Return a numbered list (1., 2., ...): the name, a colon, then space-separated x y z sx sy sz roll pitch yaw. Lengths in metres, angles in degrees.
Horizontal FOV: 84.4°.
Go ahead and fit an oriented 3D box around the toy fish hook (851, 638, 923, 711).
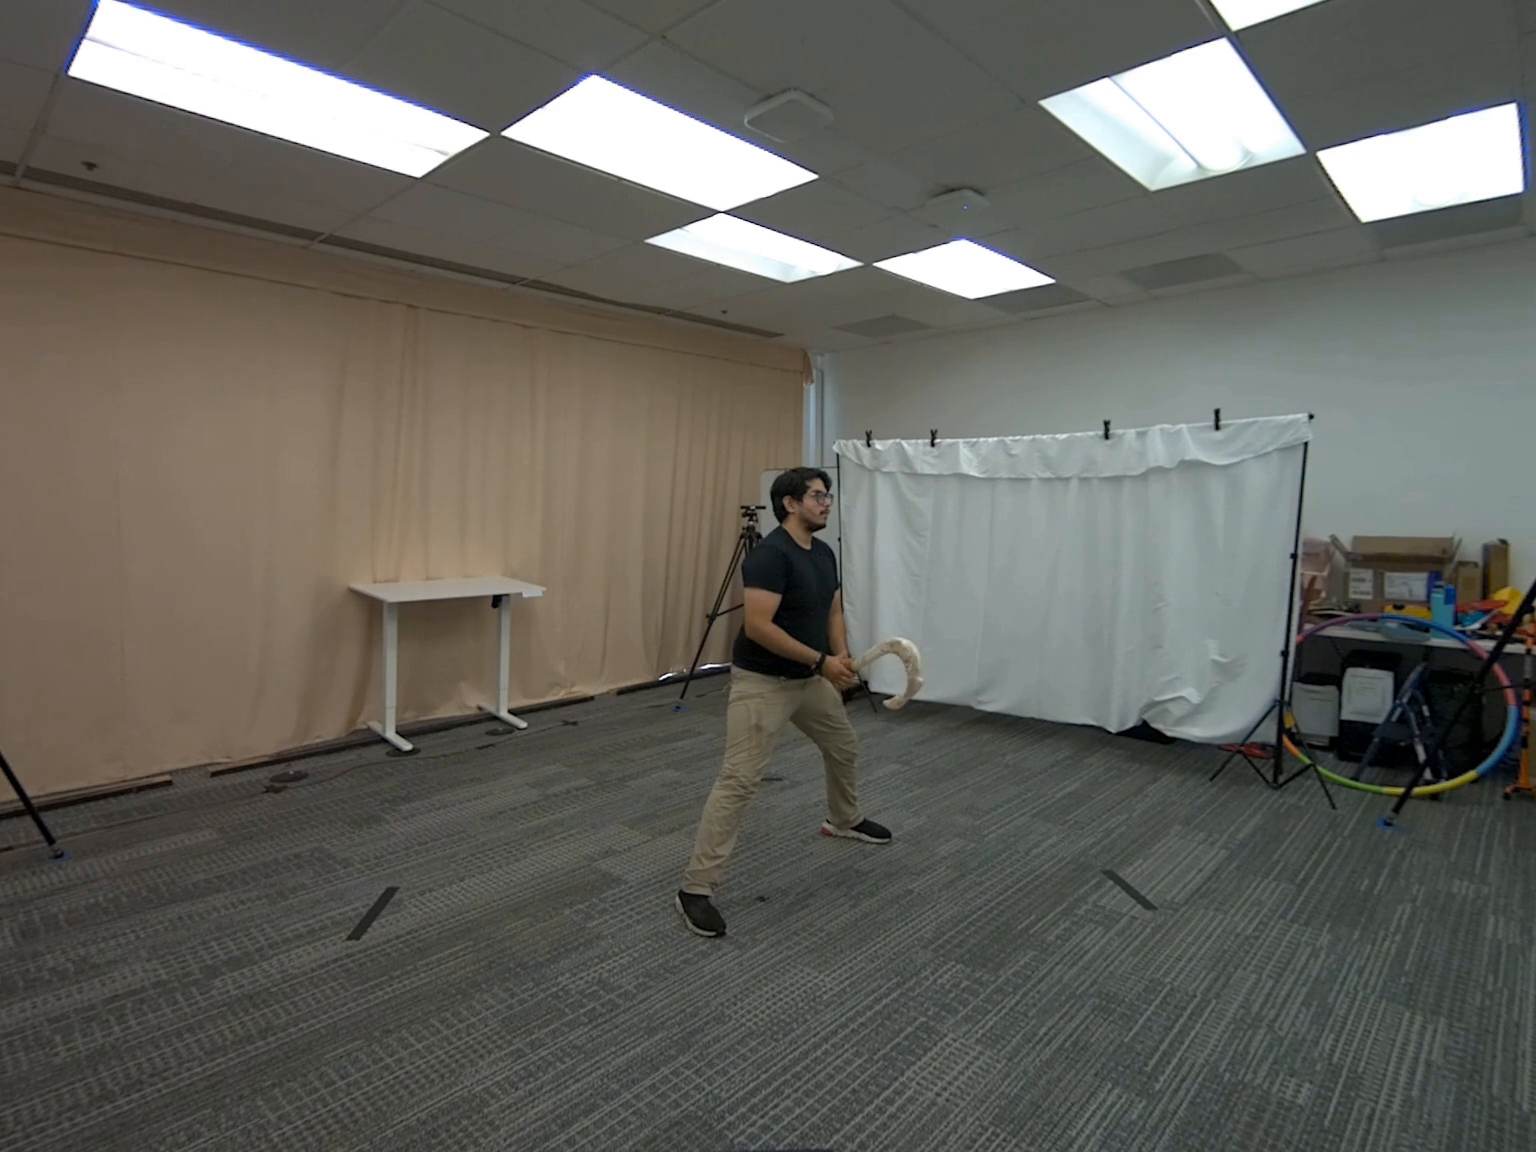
1. toy fish hook: 0.338 0.360 2.879 0.047 0.227 0.517 6 -16 -32
